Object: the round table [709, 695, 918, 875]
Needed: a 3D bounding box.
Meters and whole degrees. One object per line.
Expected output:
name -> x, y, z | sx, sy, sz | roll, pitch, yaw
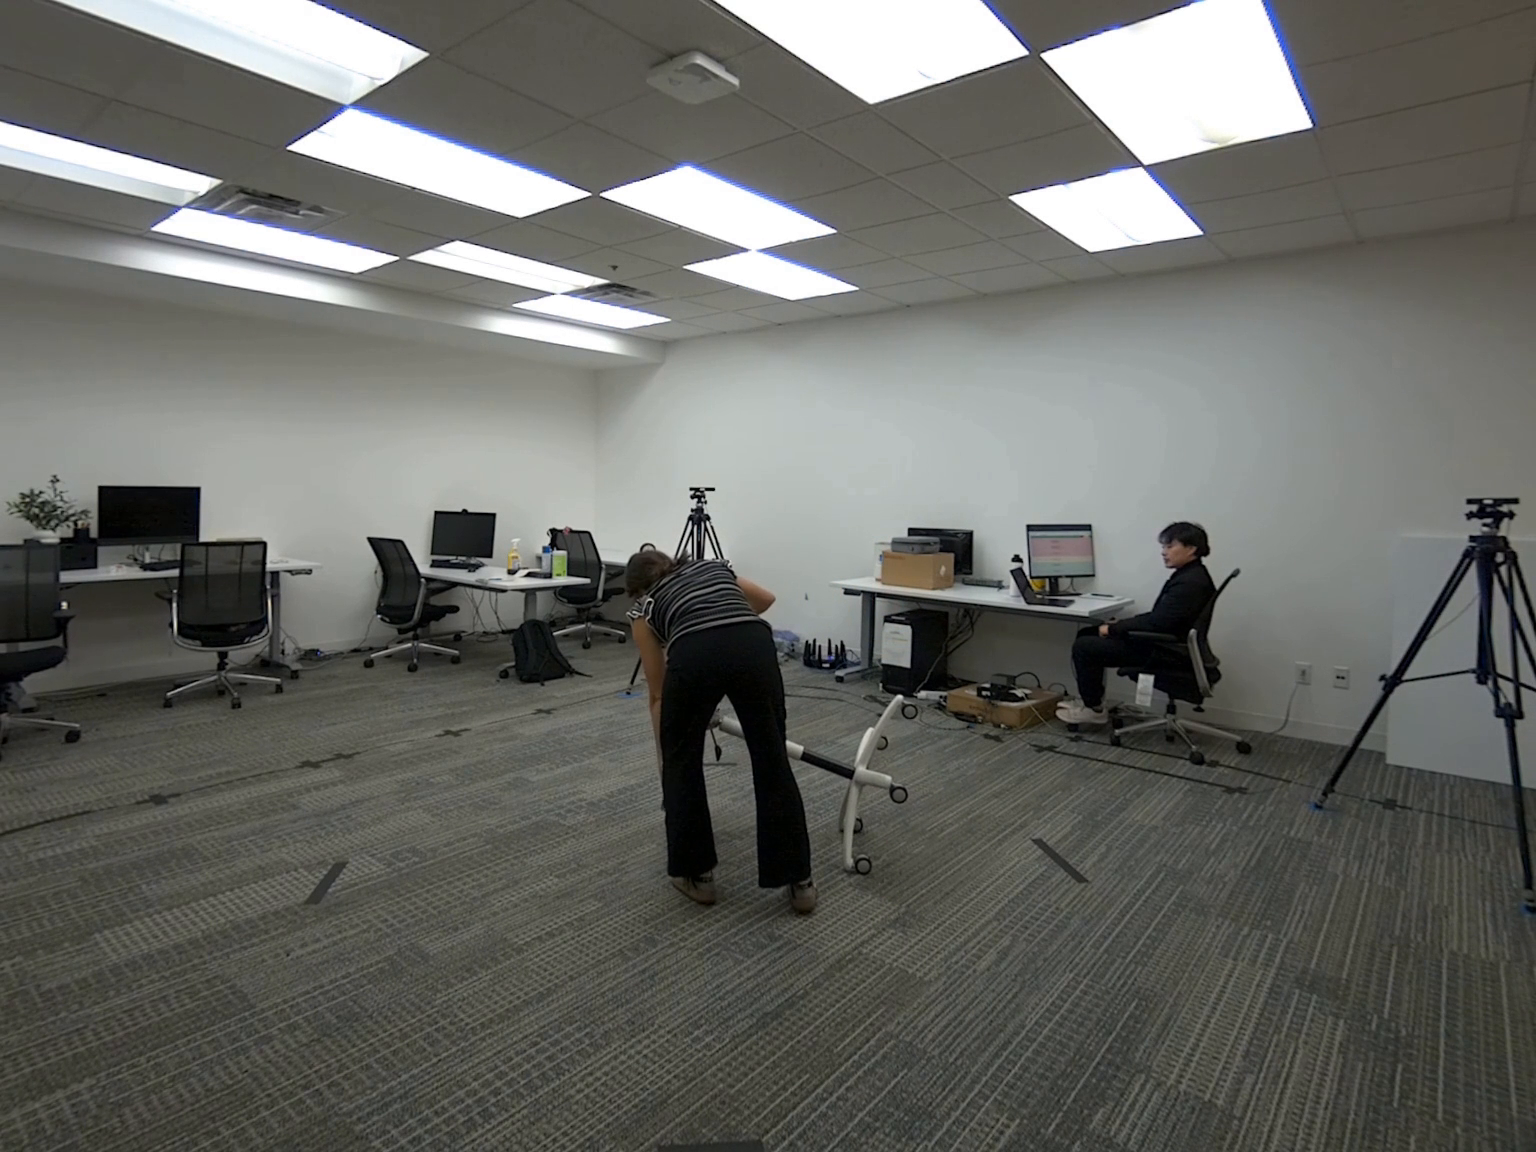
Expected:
round table -> 0.087, 0.674, 3.317 | 0.798, 0.762, 0.763 | 20, 5, 2
